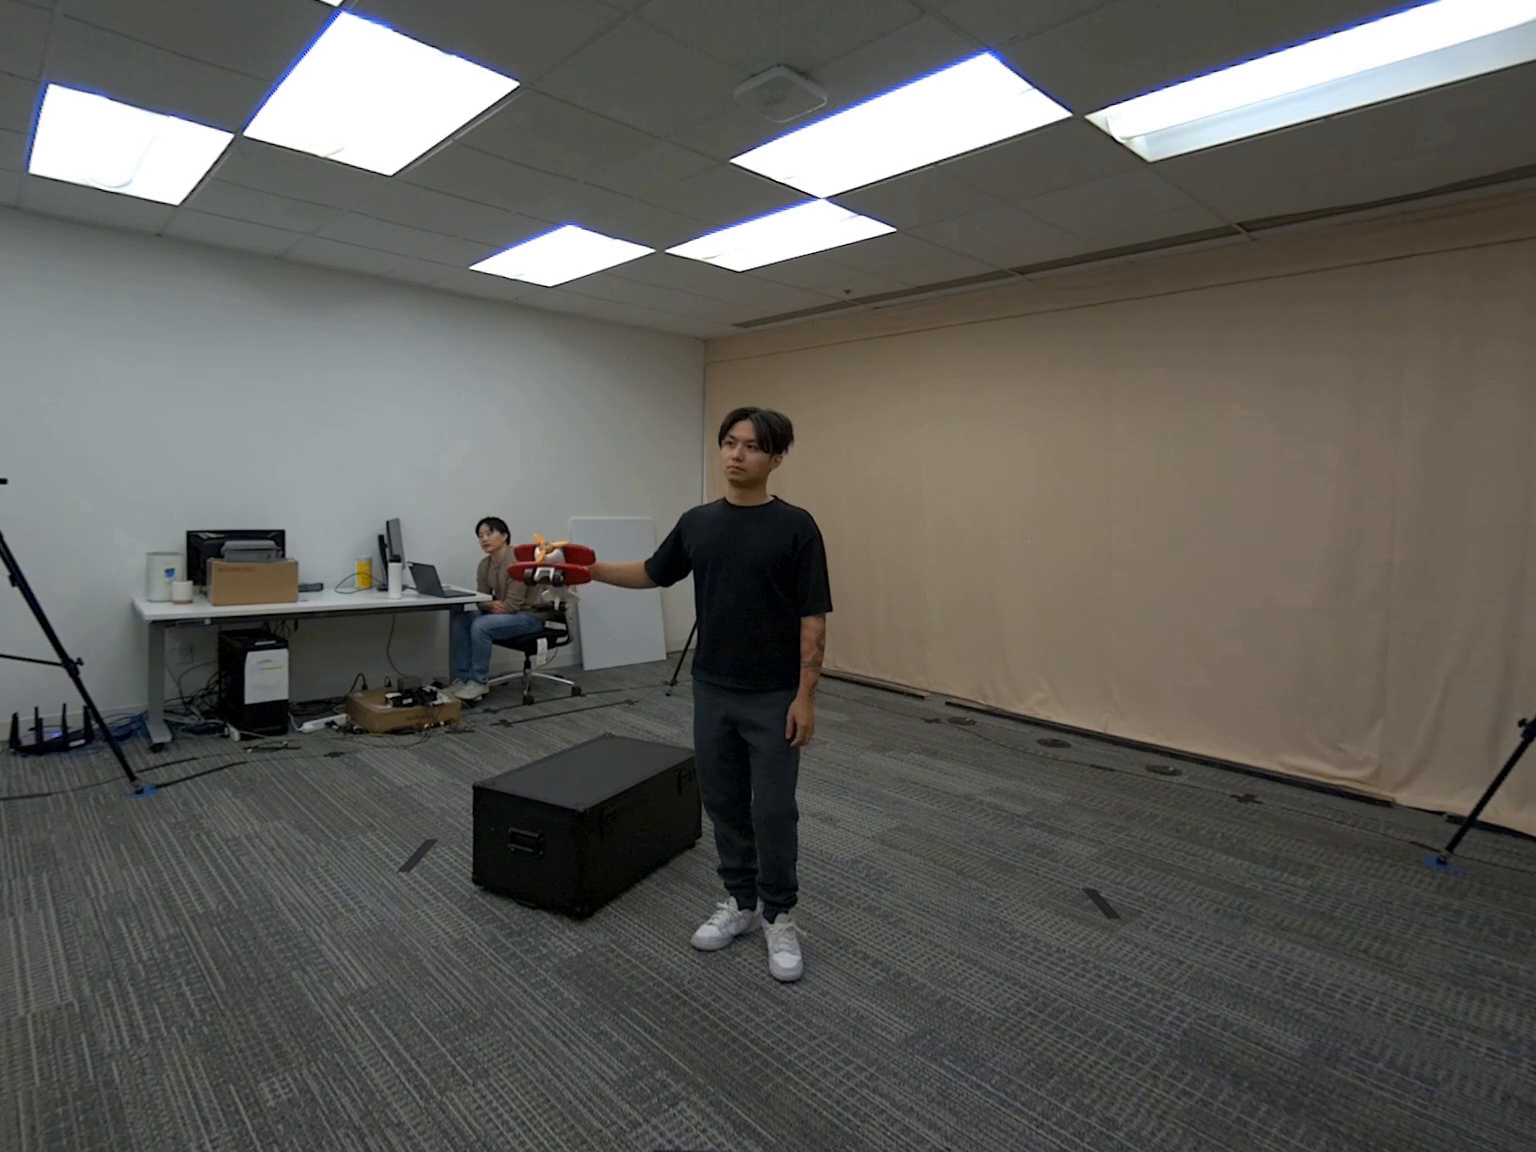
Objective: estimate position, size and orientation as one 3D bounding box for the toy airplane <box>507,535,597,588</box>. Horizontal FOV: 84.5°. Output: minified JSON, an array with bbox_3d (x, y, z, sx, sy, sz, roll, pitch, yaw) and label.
[{"bbox_3d":[-0.680,-0.008,2.578,0.246,0.159,0.260,17,-30,-23],"label":"toy airplane"}]
